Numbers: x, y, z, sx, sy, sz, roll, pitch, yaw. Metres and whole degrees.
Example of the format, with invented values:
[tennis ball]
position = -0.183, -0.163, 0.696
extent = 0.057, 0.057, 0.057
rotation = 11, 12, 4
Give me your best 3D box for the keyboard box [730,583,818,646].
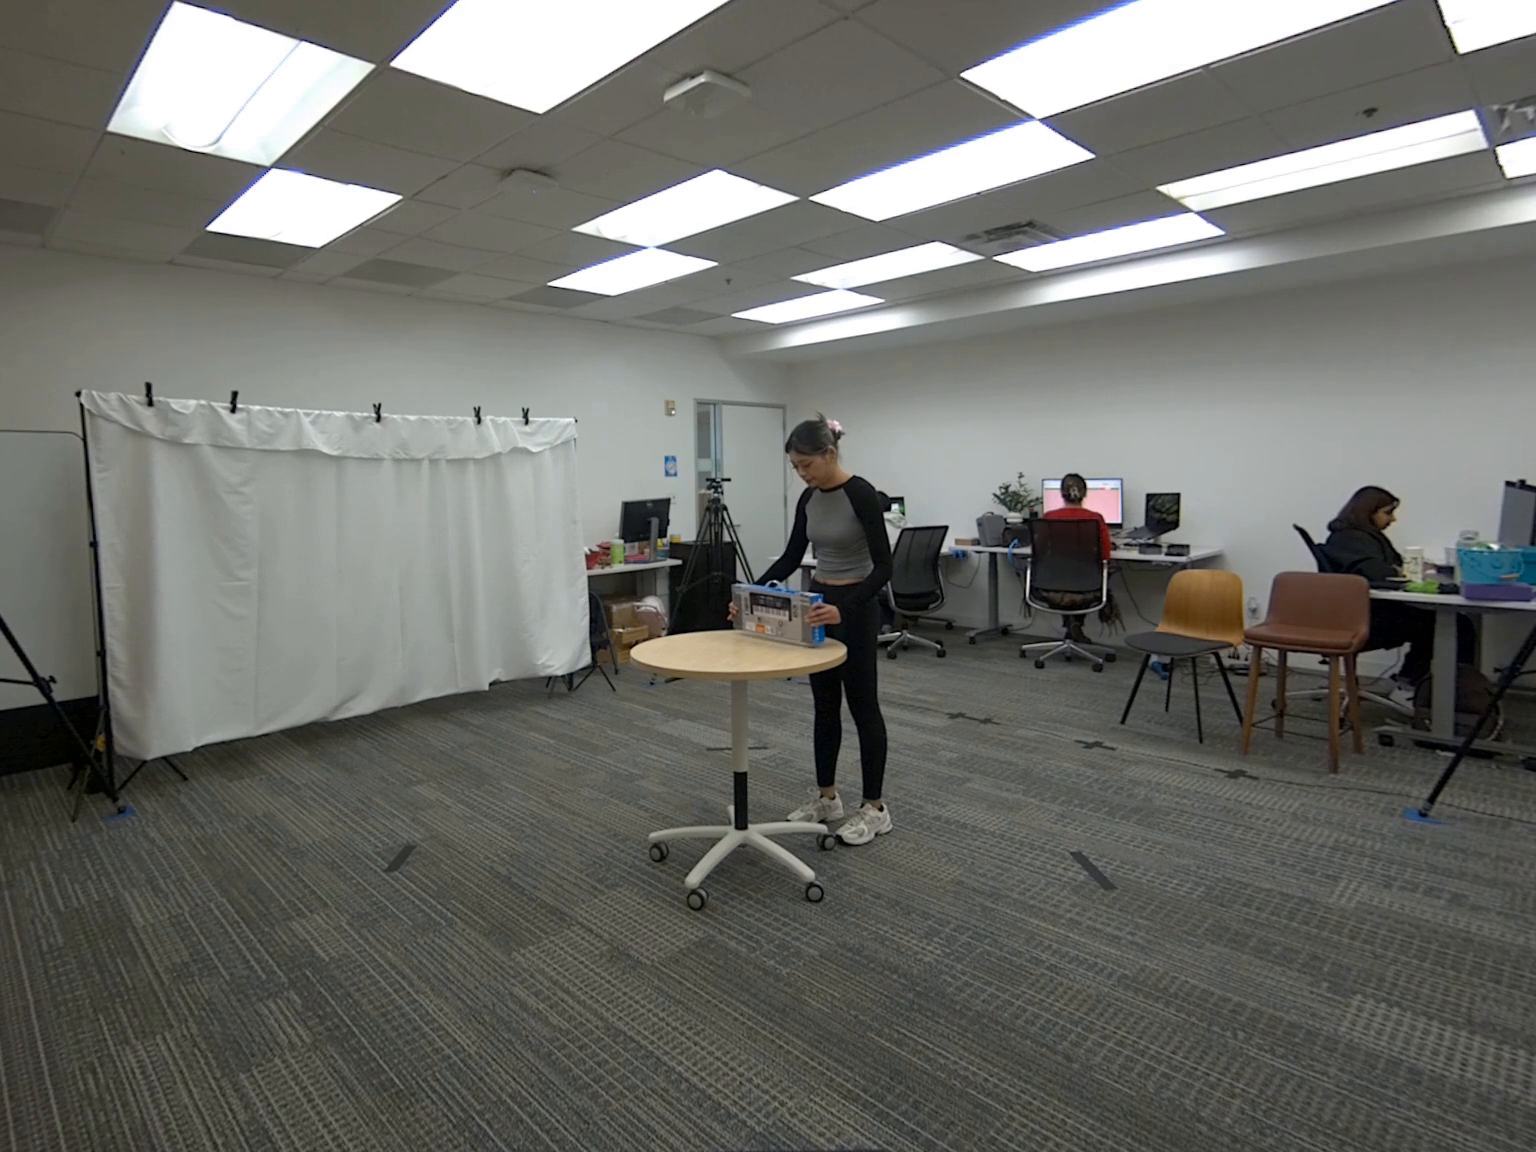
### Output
[keyboard box]
position = 0.036, 0.135, 3.164
extent = 0.057, 0.175, 0.451
rotation = -6, 9, -40
